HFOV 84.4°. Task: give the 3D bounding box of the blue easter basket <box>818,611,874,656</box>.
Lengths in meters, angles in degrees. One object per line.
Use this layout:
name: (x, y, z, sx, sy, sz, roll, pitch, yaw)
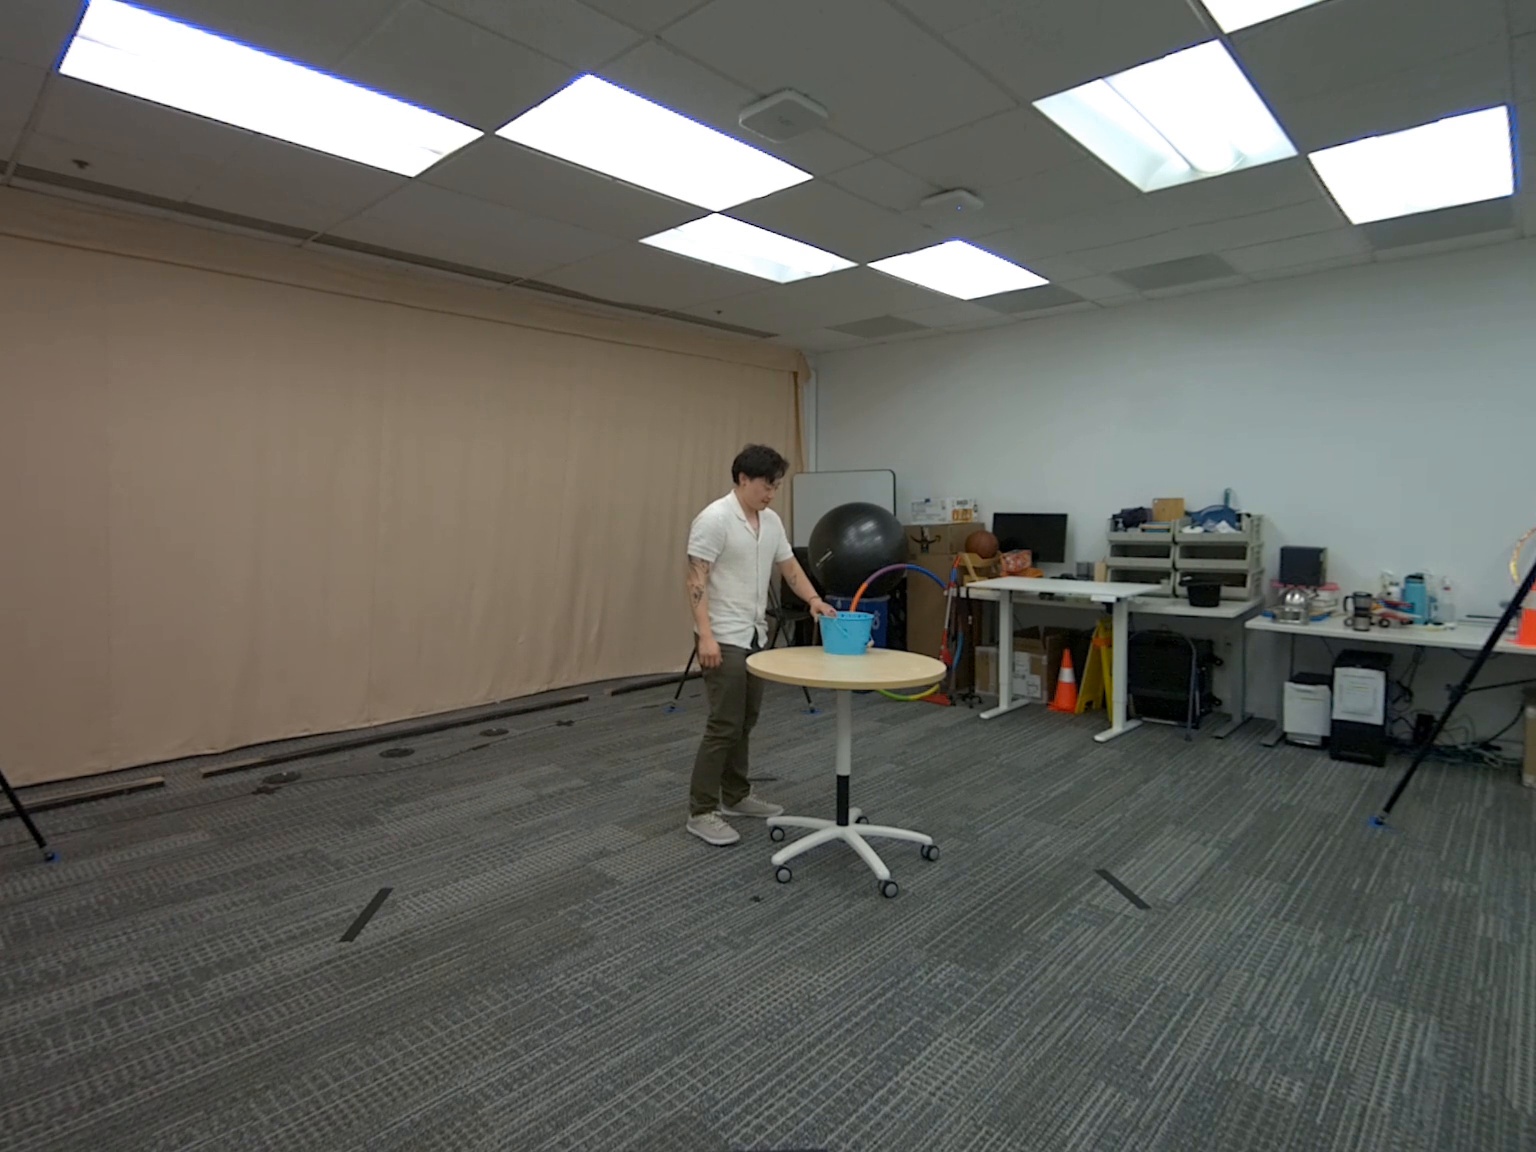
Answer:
blue easter basket: (0.333, 0.243, 3.534, 0.243, 0.155, 0.244, 0, 3, -2)
